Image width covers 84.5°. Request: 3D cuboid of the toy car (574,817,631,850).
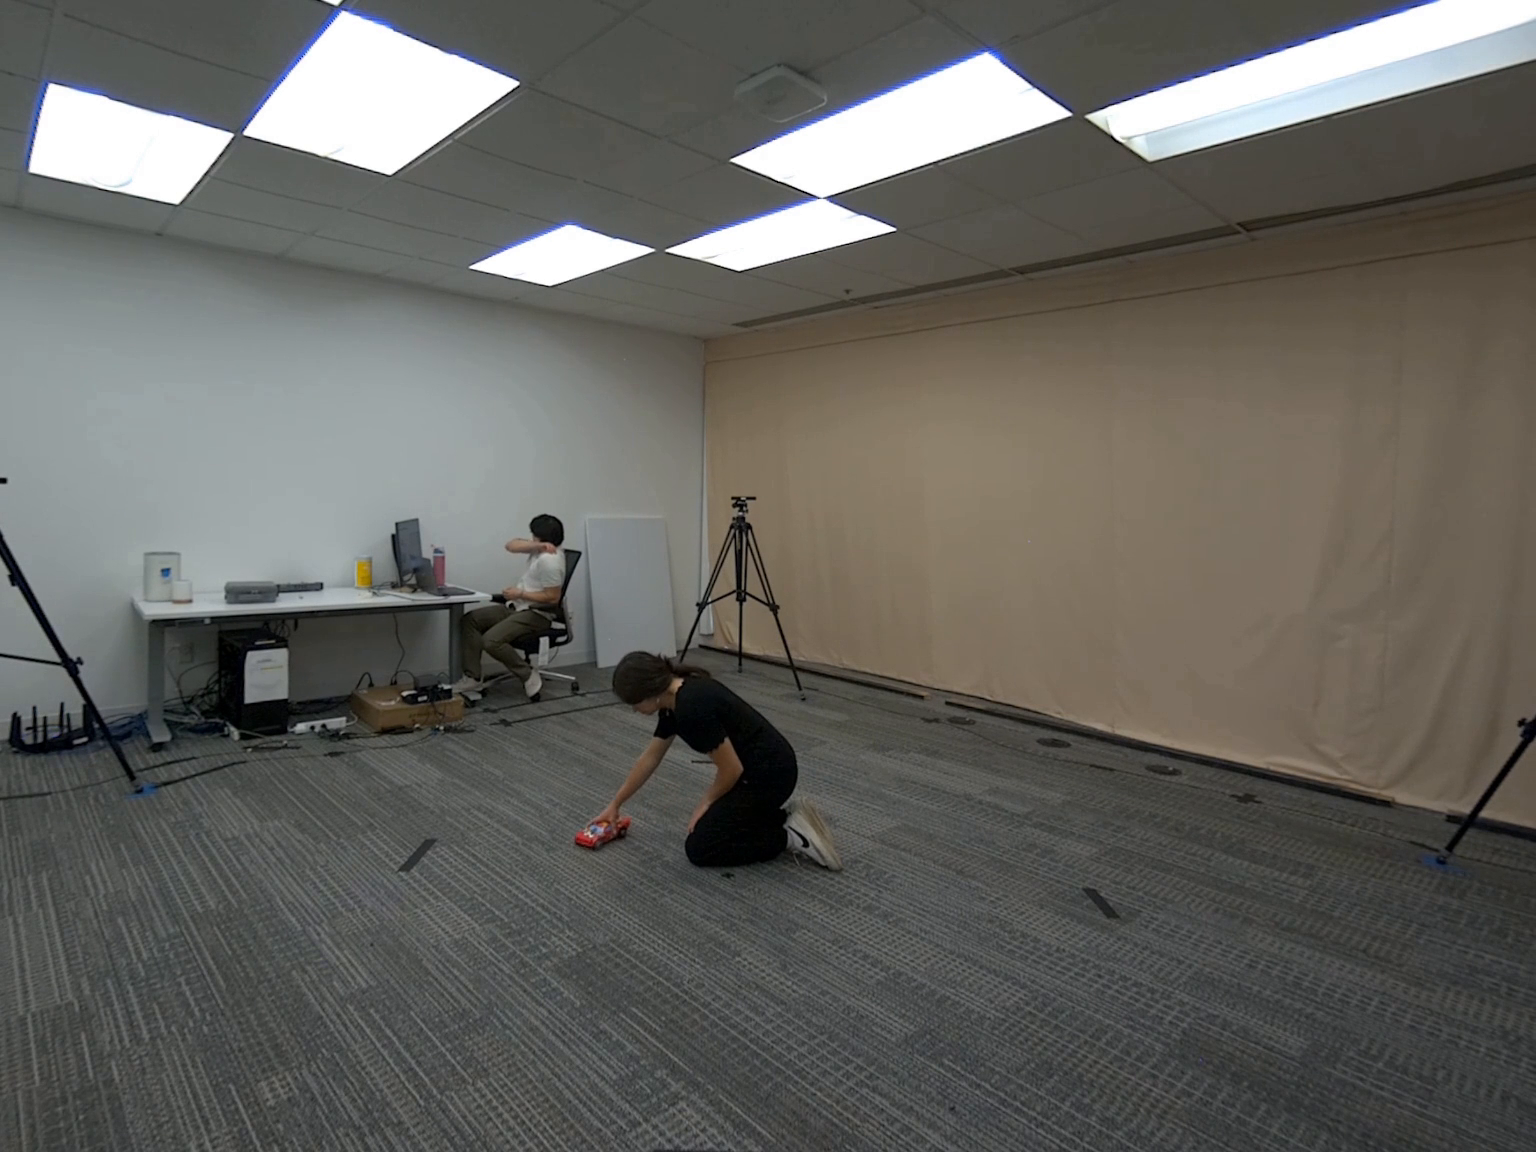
[{"bbox_3d":[-0.662,1.028,3.413,0.133,0.082,0.251,4,17,32],"label":"toy car"}]
